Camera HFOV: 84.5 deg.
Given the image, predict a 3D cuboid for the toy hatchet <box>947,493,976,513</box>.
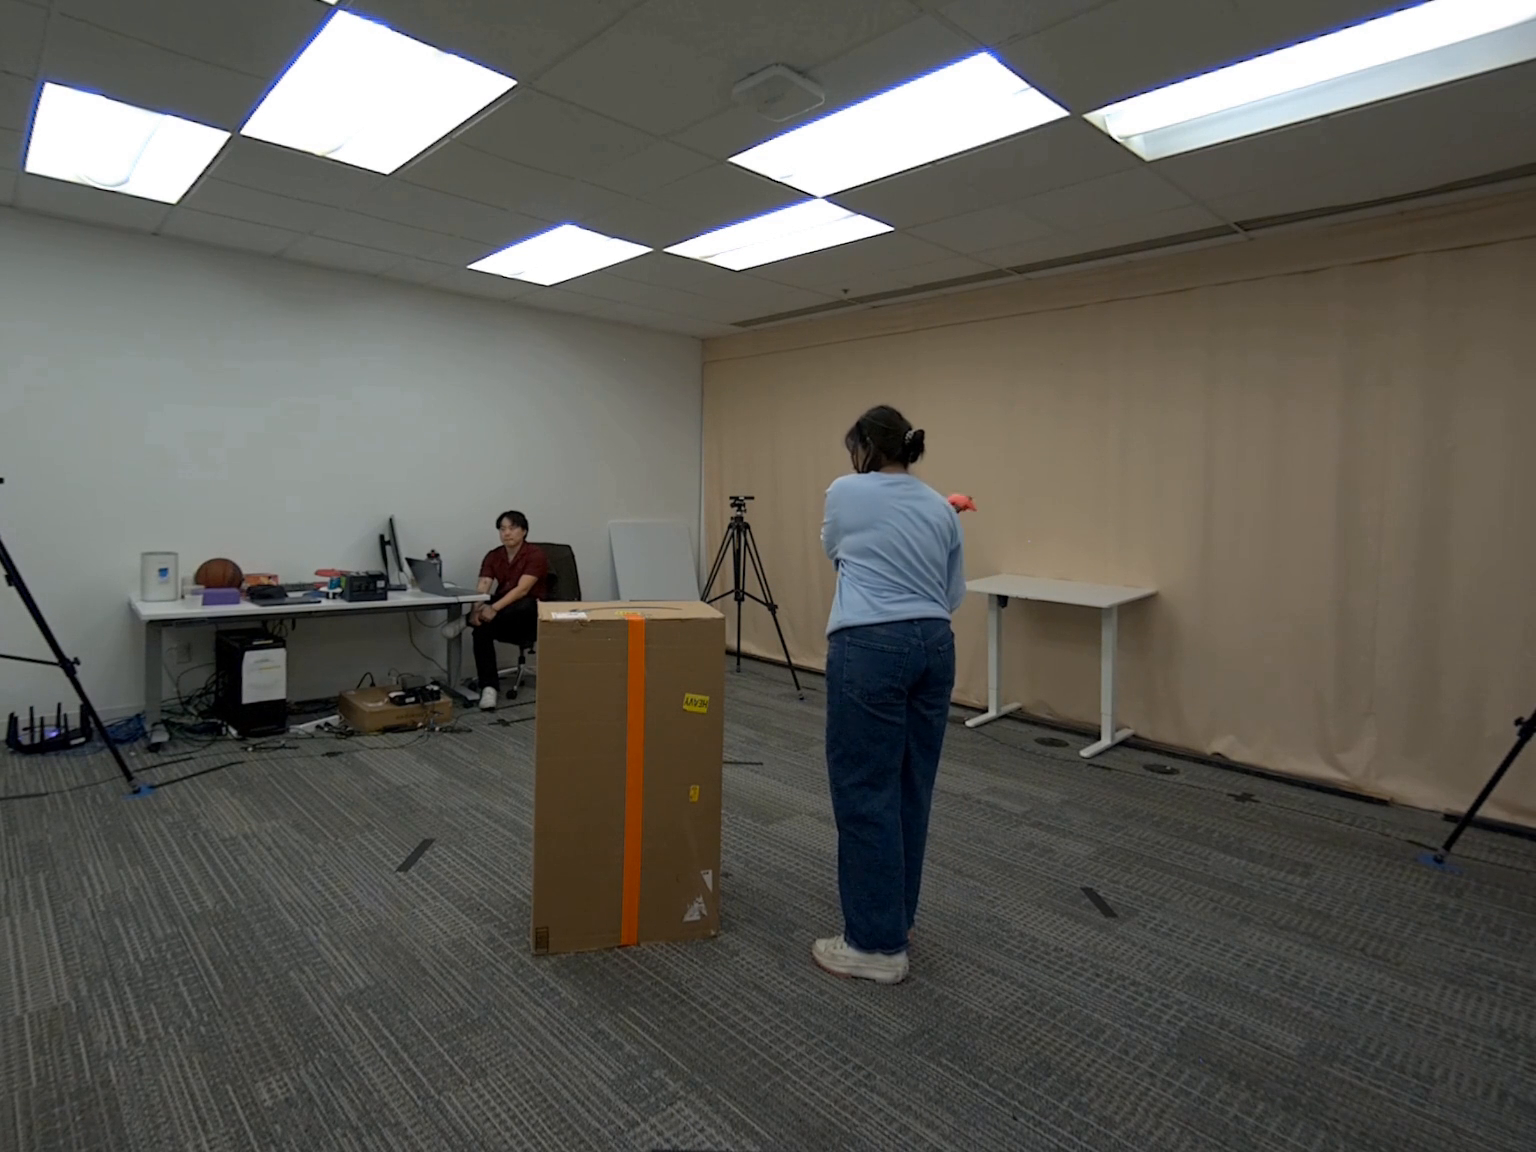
[{"bbox_3d":[0.561,-0.200,2.941,0.271,0.029,0.134,-25,42,10],"label":"toy hatchet"}]
